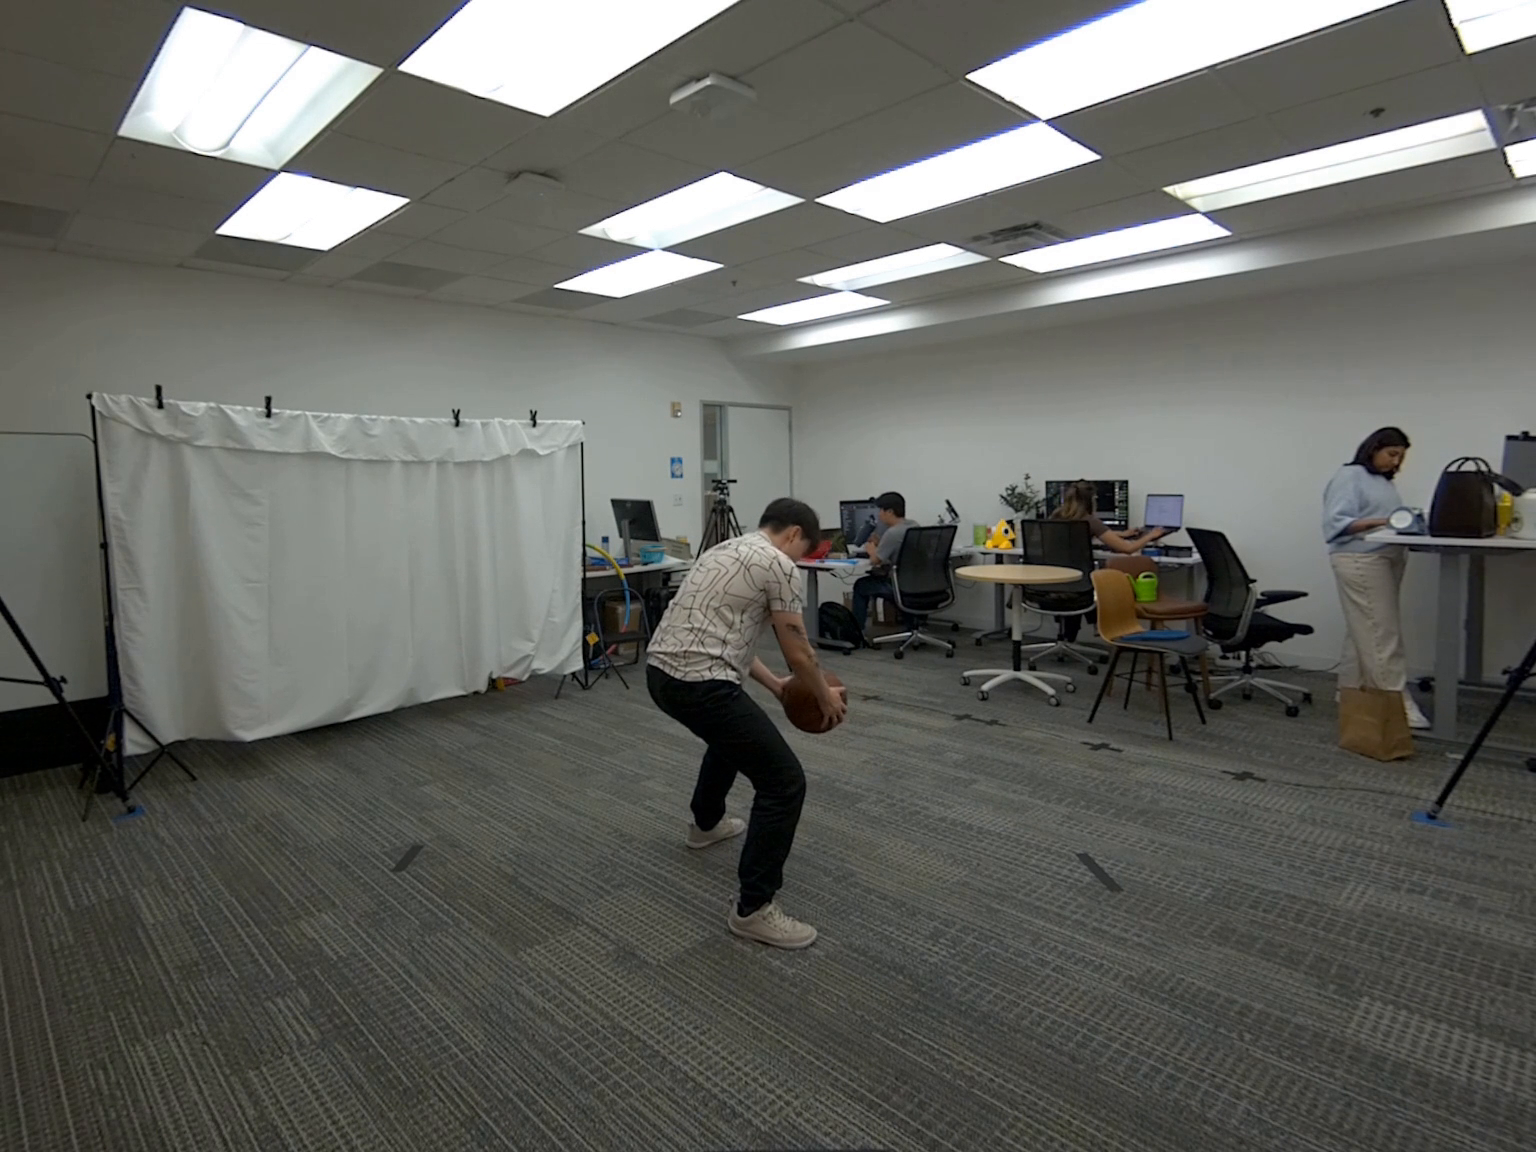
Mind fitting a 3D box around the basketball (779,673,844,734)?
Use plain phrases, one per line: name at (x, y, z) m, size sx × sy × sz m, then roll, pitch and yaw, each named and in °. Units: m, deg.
basketball at (0.177, 0.455, 3.156) m, size 0.236 × 0.235 × 0.237 m, roll -1°, pitch 5°, yaw -2°
